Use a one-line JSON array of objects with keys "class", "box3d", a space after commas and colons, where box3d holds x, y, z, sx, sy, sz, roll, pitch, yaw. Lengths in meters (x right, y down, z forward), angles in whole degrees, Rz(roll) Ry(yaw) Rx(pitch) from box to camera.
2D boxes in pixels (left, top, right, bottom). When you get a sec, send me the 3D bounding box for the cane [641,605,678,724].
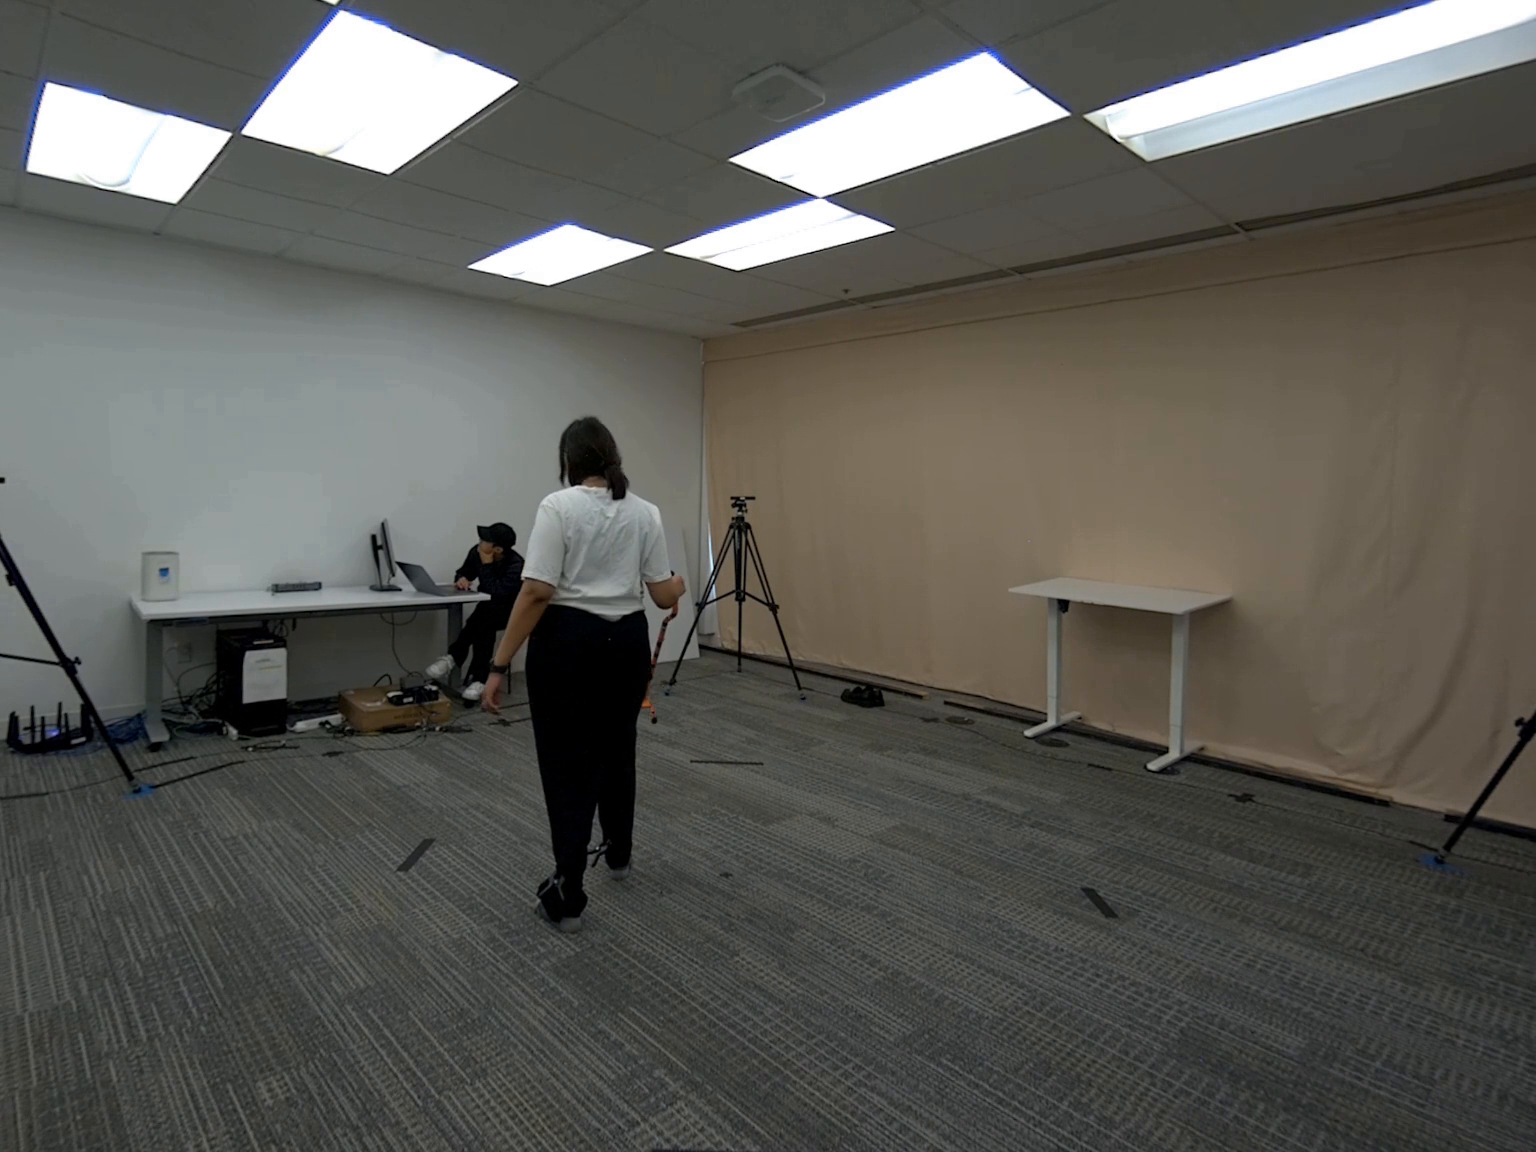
[{"class": "cane", "box3d": [-0.489, 0.333, 3.522, 0.149, 0.212, 0.896, -2, -37, -18]}]
